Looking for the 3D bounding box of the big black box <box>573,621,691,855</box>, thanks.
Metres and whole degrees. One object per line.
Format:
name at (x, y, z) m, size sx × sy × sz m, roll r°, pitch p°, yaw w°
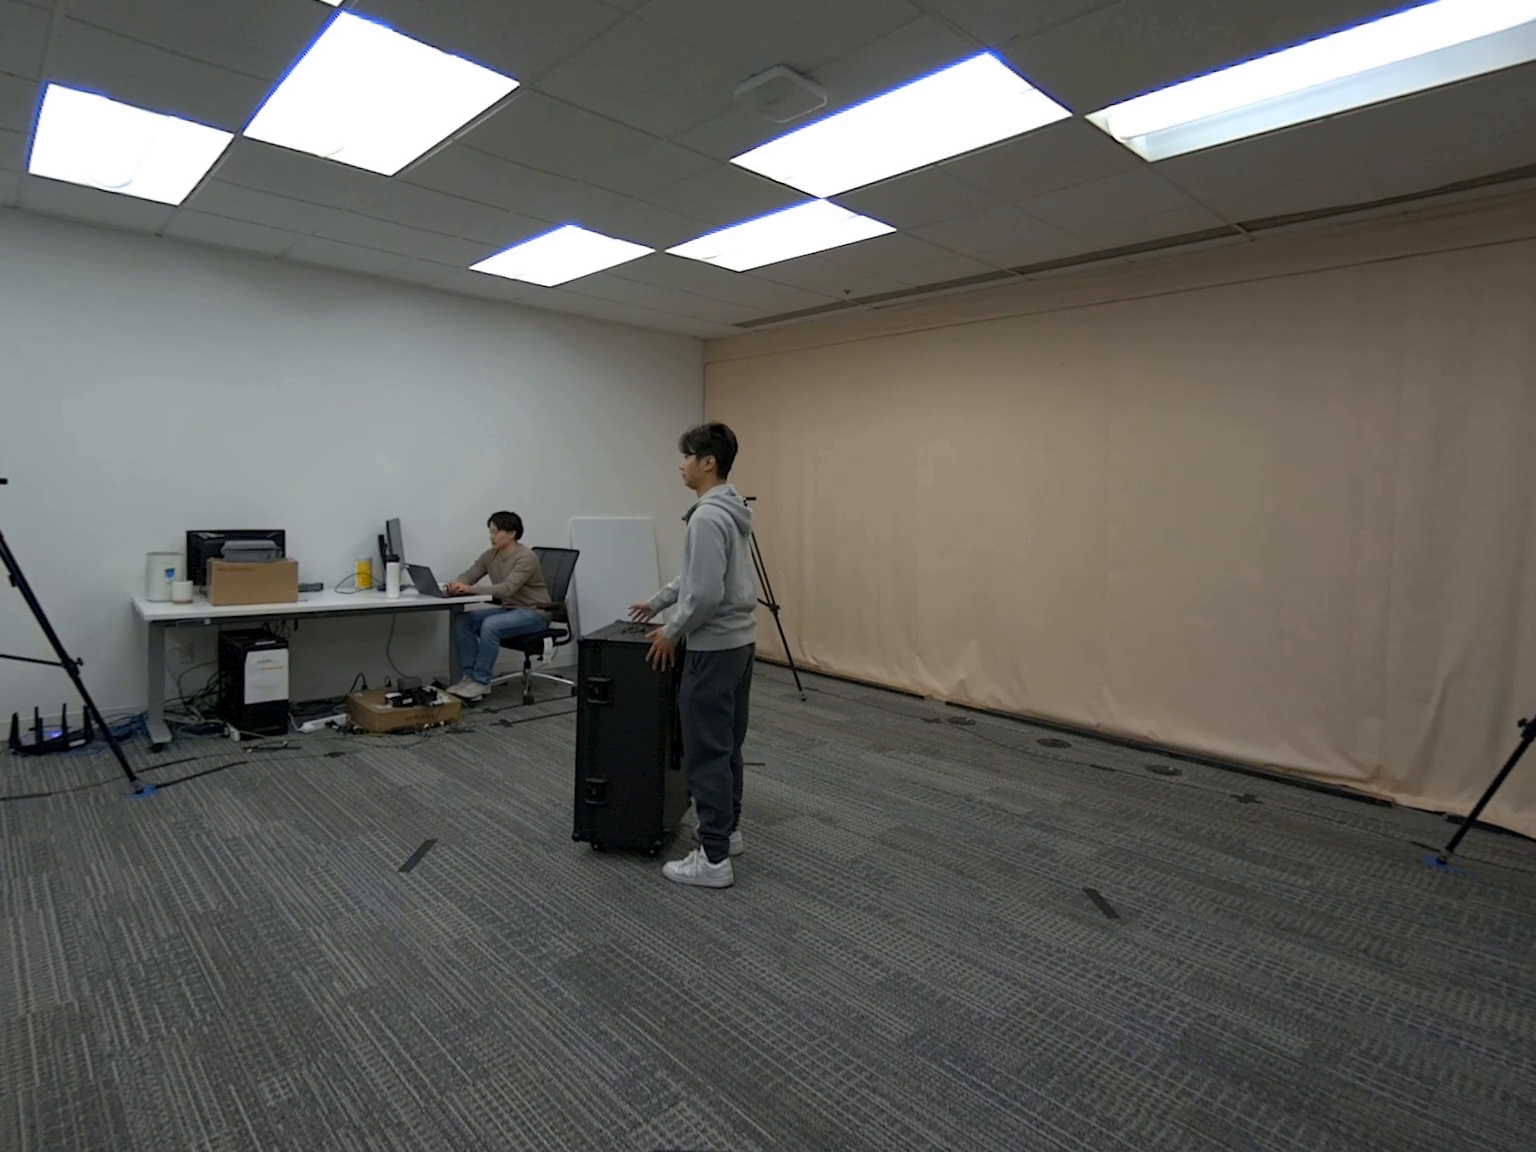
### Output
big black box at (-0.518, 0.645, 3.404) m, size 0.400 × 0.859 × 0.518 m, roll 4°, pitch 4°, yaw 9°
